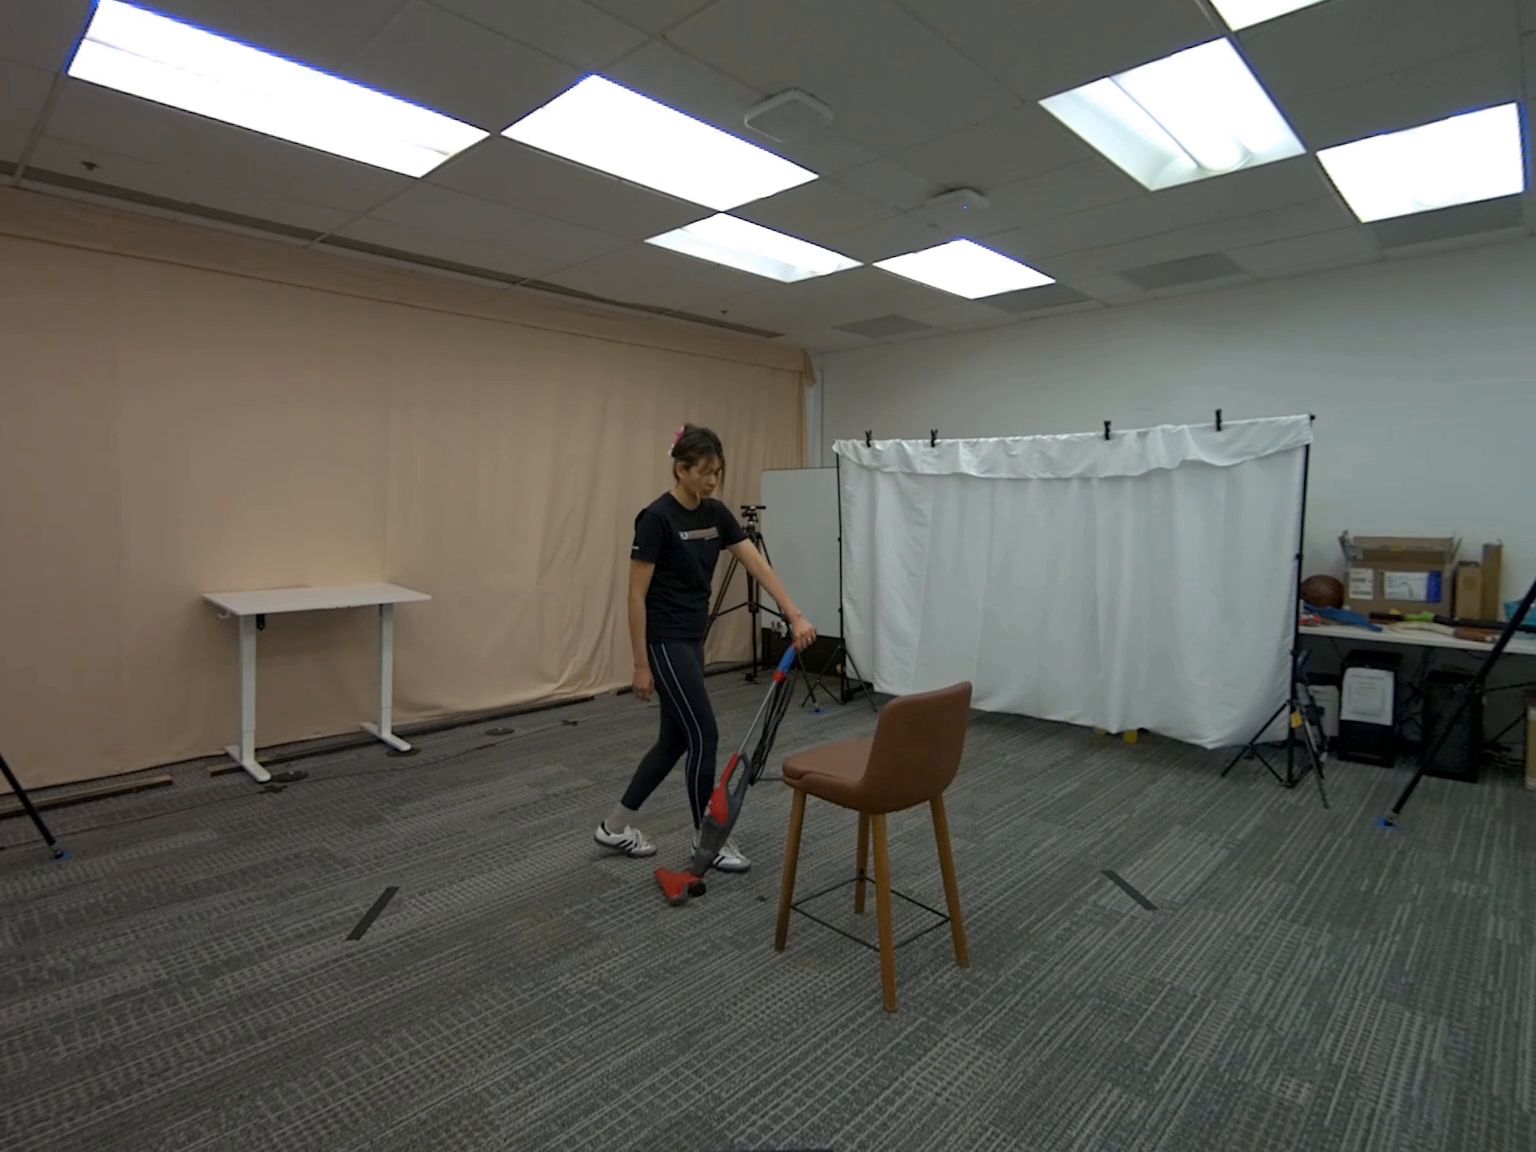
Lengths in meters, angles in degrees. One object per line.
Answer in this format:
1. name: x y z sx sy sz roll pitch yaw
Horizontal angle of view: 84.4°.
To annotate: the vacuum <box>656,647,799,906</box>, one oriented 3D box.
1. vacuum: -0.068 0.677 3.103 0.140 1.049 0.260 32 -8 -28
